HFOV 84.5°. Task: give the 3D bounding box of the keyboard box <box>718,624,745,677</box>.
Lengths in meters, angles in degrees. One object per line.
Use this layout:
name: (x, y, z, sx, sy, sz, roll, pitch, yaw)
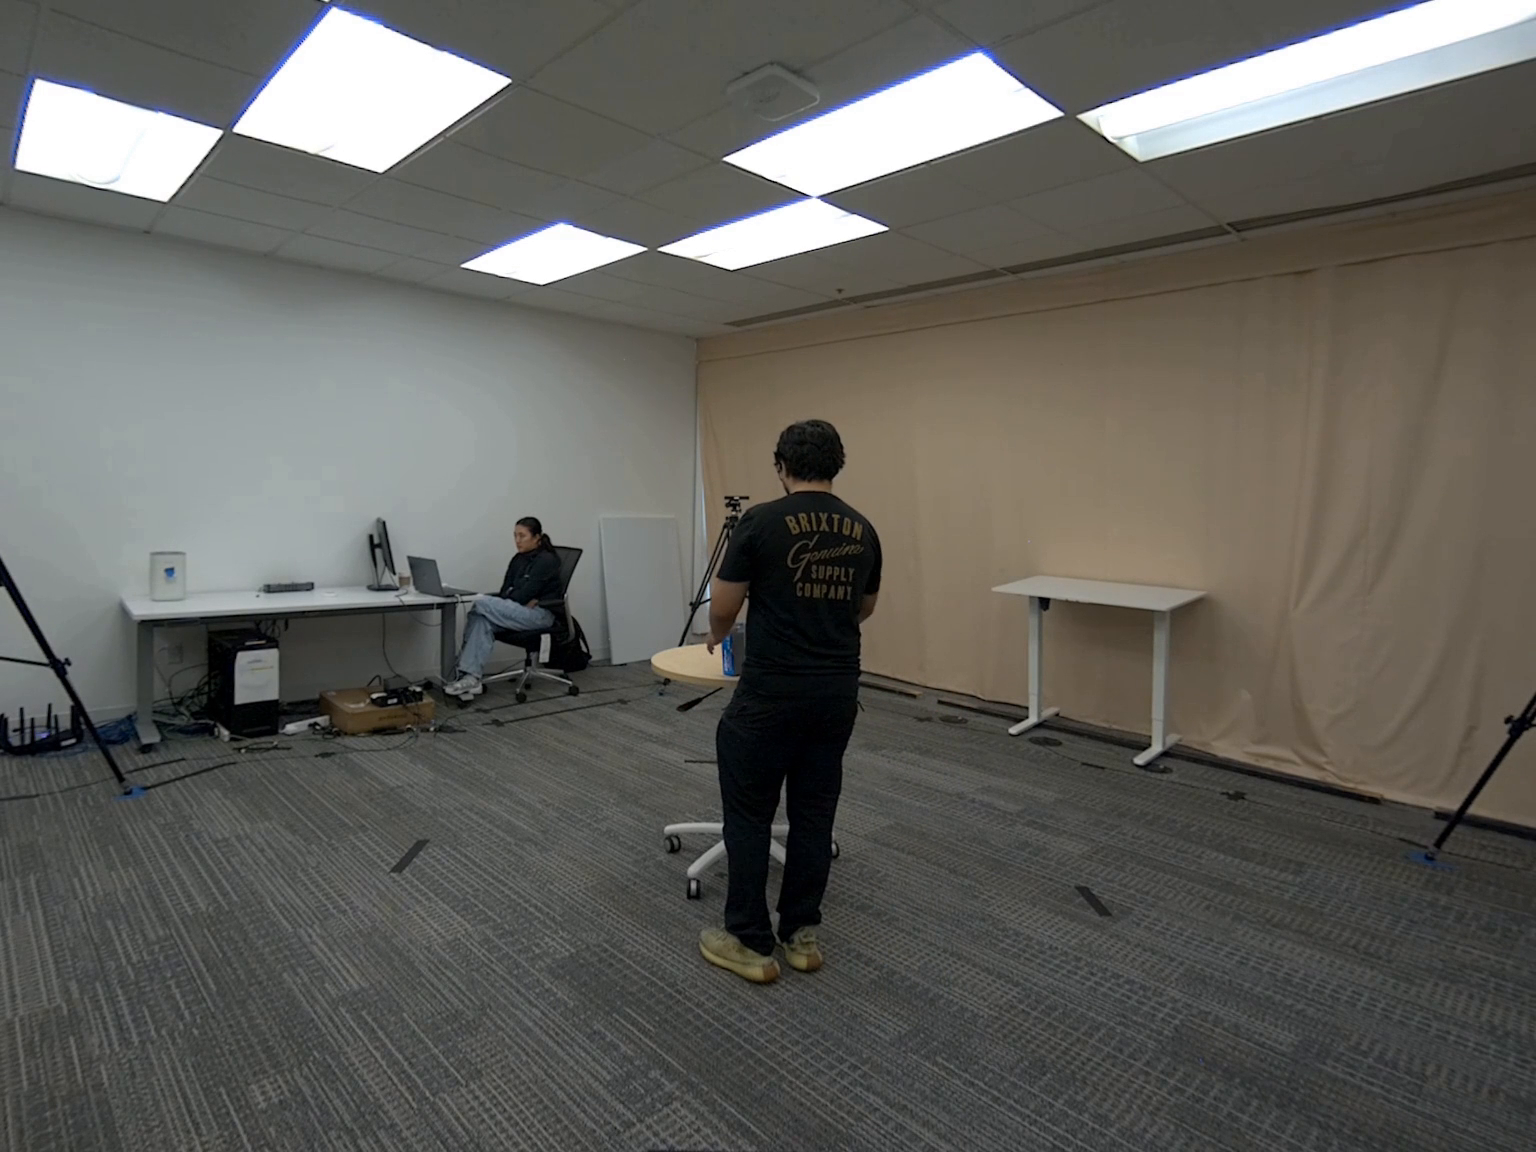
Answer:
keyboard box: (0.017, 0.248, 3.013, 0.427, 0.176, 0.060, -4, 0, -43)
